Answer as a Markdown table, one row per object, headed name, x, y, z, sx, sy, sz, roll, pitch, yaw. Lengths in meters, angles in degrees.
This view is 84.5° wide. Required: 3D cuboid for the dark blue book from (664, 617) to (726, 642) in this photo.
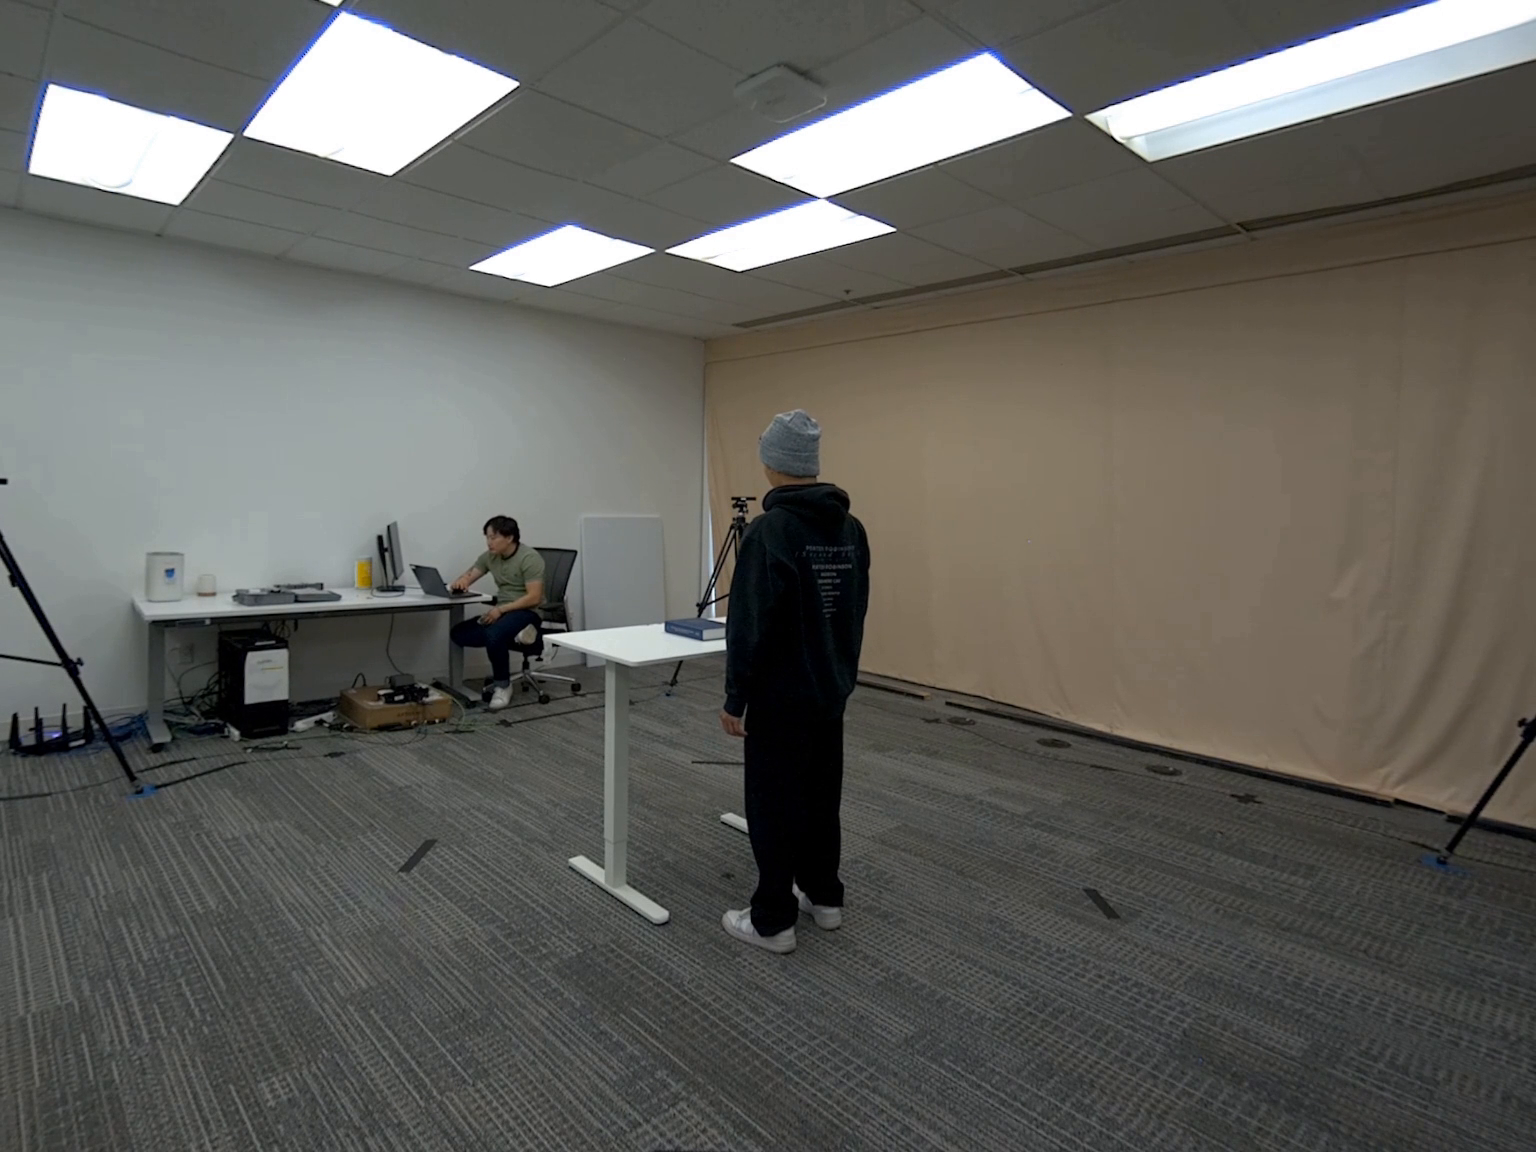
| name | x | y | z | sx | sy | sz | roll | pitch | yaw |
| --- | --- | --- | --- | --- | --- | --- | --- | --- | --- |
| dark blue book | -0.269 | 0.200 | 3.142 | 0.160 | 0.045 | 0.251 | -4 | 7 | -40 |
